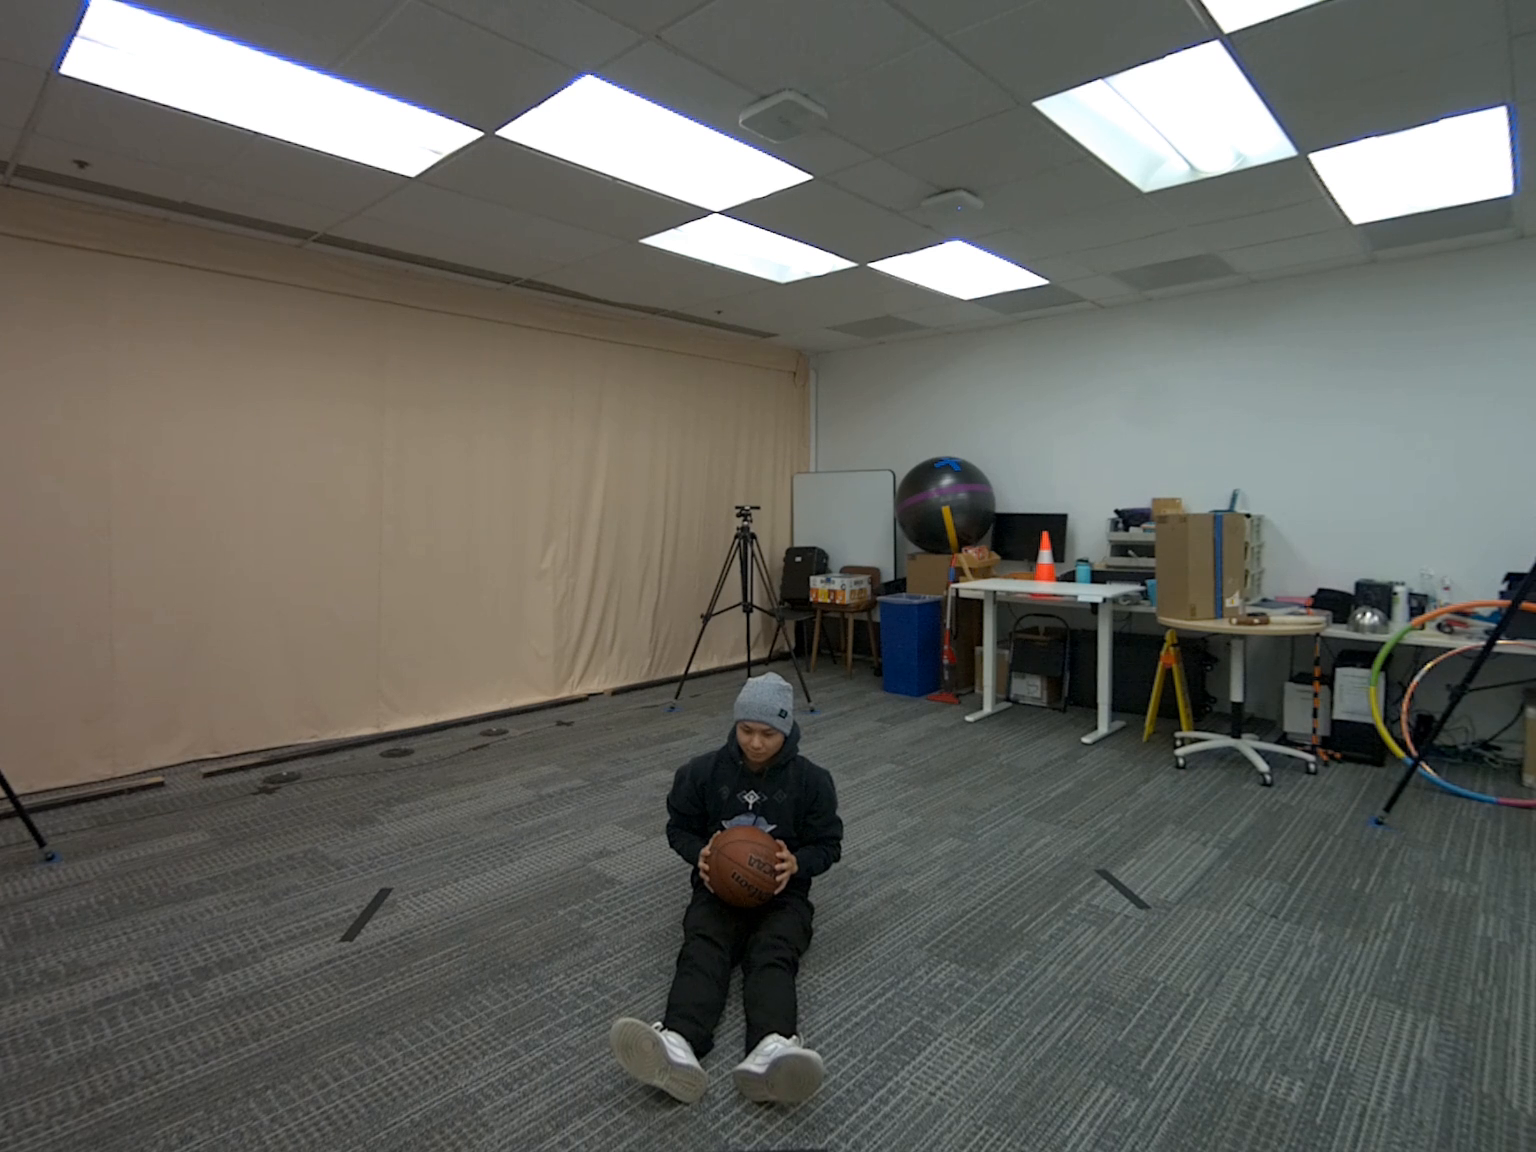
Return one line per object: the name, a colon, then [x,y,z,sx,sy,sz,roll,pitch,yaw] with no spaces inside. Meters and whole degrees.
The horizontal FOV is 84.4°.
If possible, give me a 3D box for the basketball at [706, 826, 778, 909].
basketball: [-0.069,0.881,2.585,0.236,0.235,0.237,0,4,-2]
